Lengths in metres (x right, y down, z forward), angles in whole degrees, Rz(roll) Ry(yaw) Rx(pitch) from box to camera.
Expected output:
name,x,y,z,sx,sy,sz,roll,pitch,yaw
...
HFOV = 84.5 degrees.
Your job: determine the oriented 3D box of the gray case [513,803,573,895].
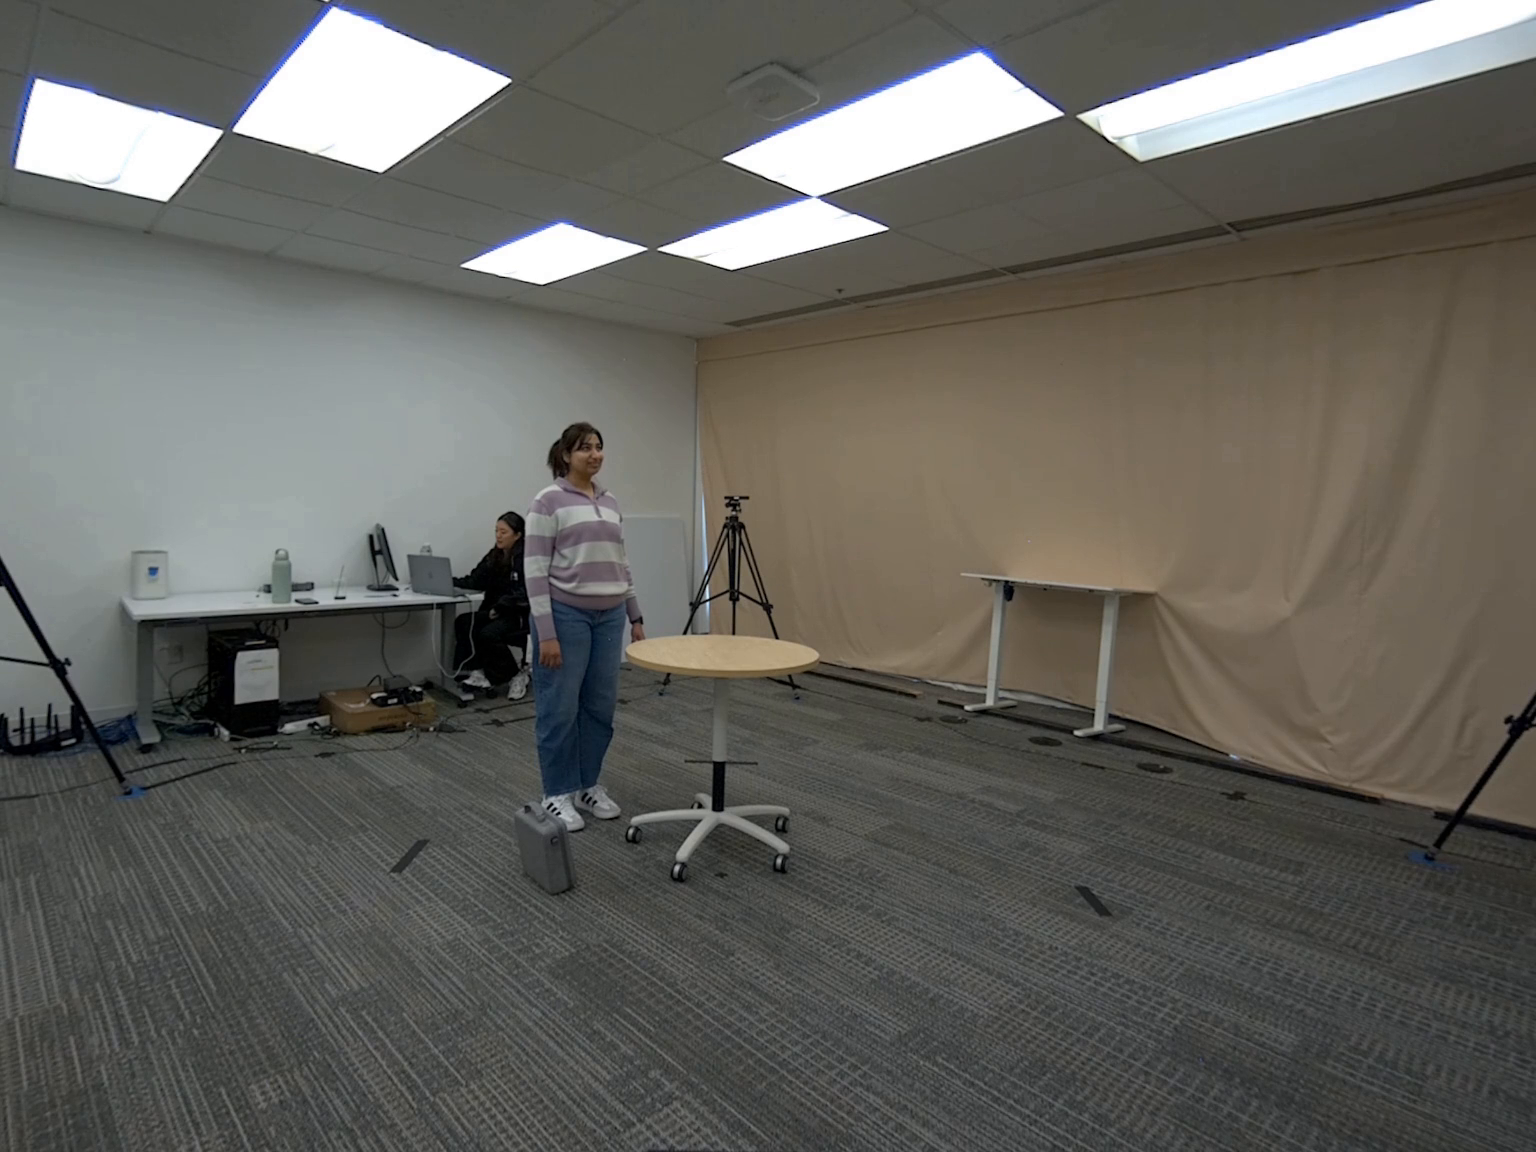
name,x,y,z,sx,sy,sz,roll,pitch,yaw
gray case,-0.804,0.968,3.001,0.102,0.259,0.263,-13,12,-37
